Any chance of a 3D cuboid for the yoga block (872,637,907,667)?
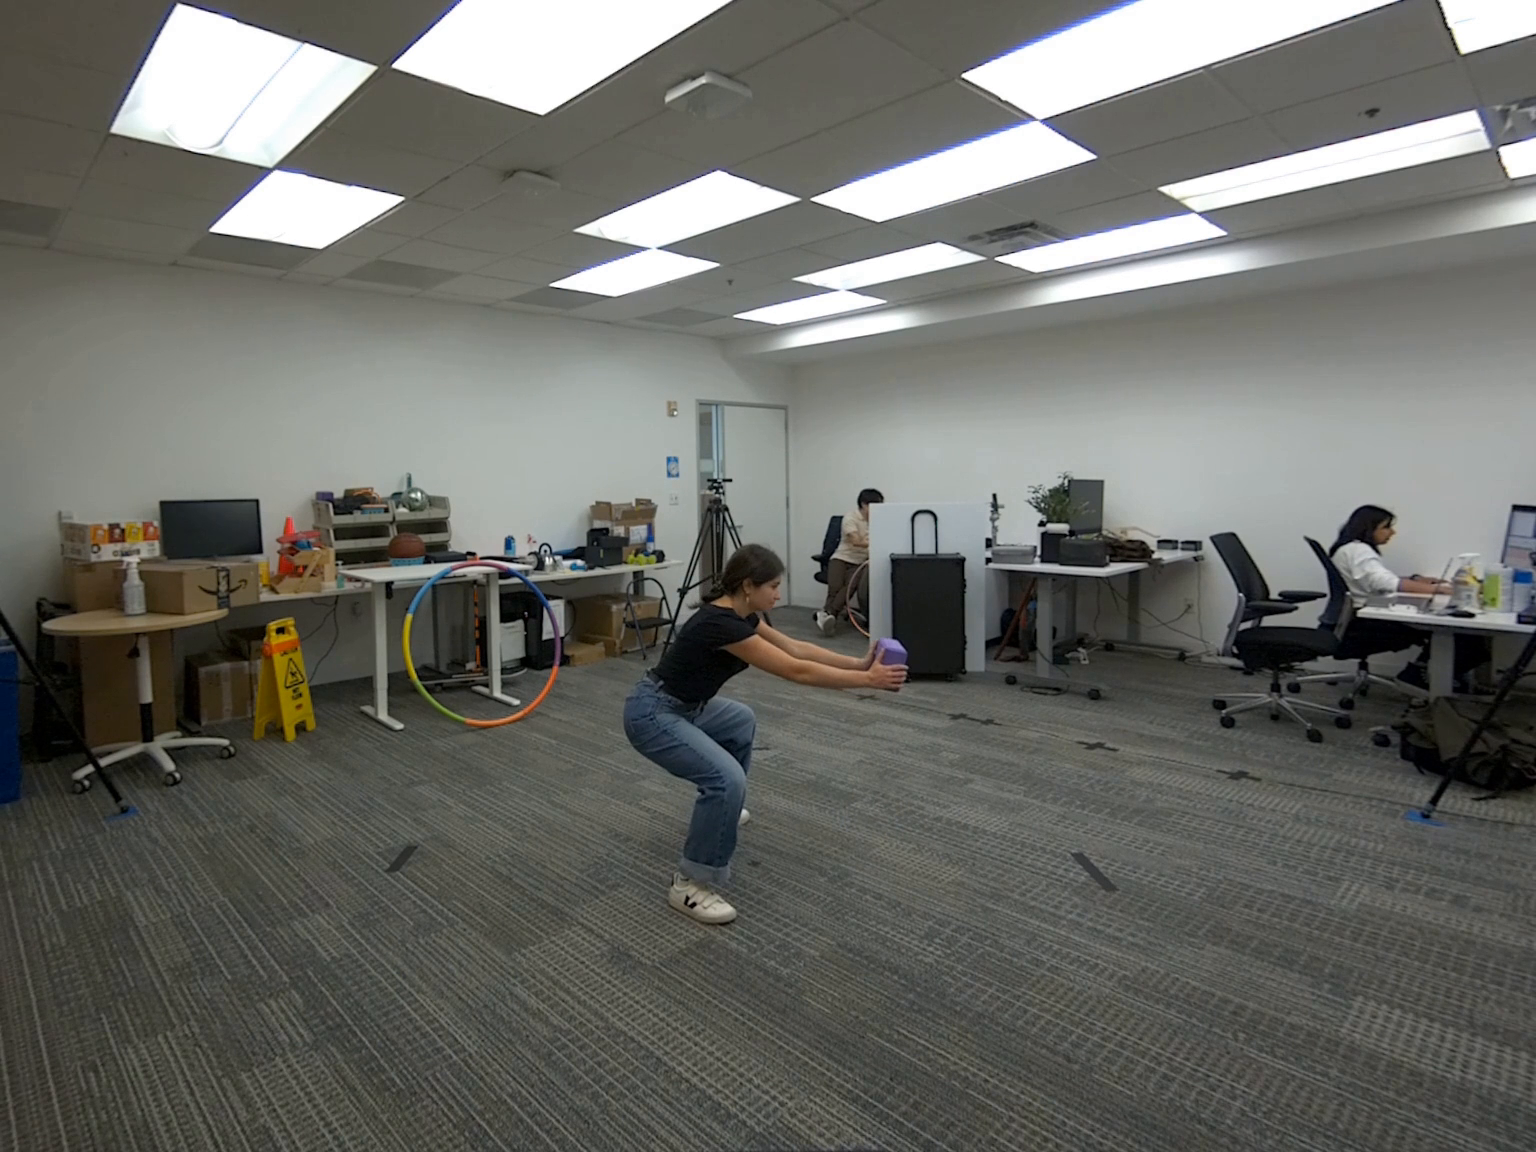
[{"bbox_3d":[0.420,0.313,3.003,0.076,0.148,0.230,11,4,-1],"label":"yoga block"}]
